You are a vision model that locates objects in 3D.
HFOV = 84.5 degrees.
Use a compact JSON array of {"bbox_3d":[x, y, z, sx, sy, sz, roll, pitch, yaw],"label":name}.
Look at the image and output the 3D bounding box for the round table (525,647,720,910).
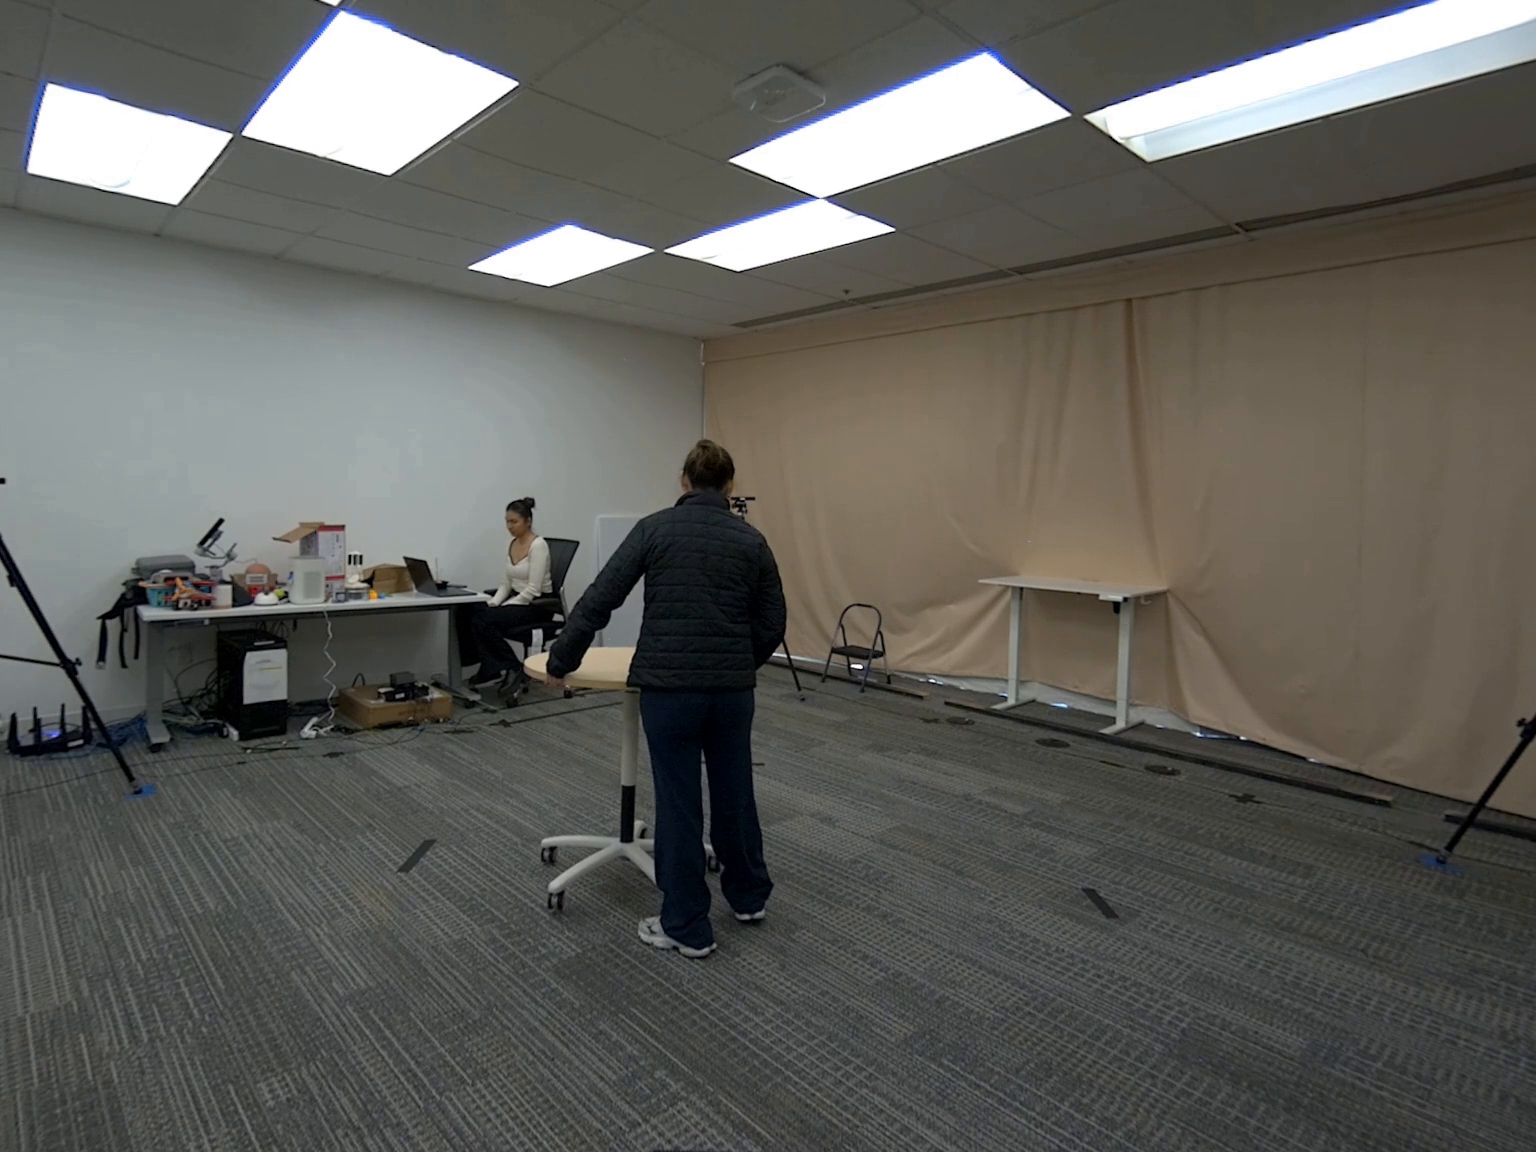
[{"bbox_3d":[-0.499,0.707,3.008,0.784,0.786,0.786,2,2,-1],"label":"round table"}]
